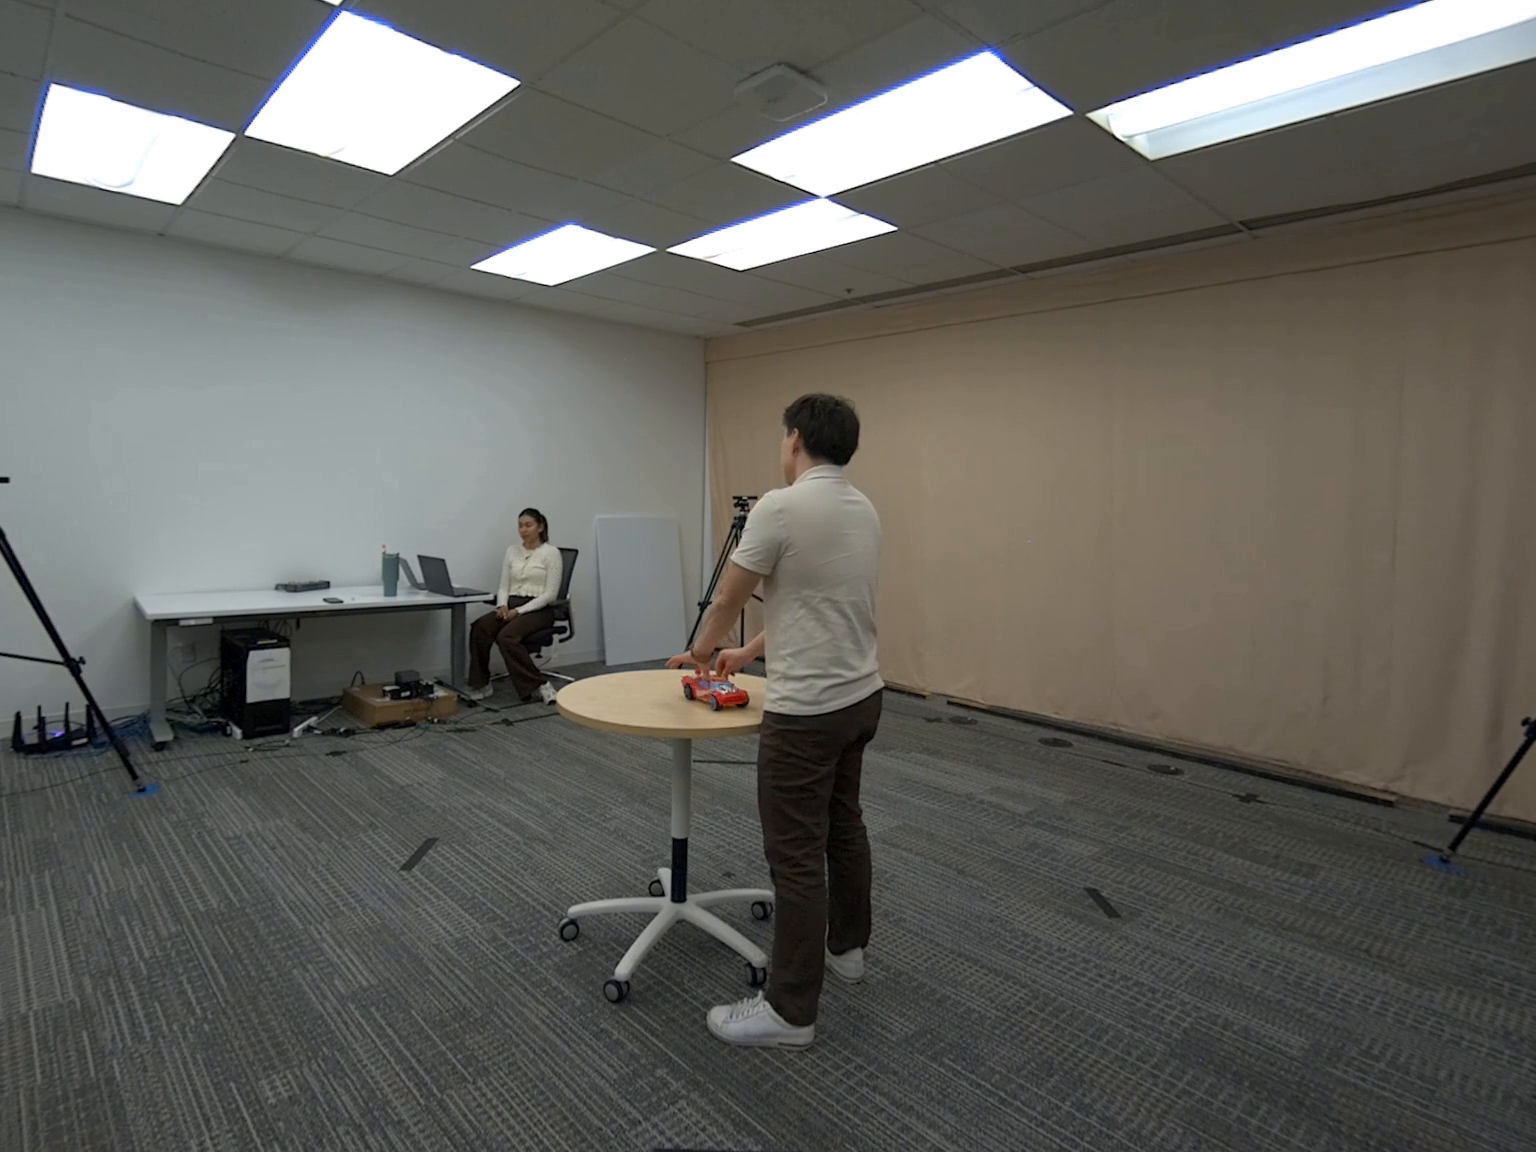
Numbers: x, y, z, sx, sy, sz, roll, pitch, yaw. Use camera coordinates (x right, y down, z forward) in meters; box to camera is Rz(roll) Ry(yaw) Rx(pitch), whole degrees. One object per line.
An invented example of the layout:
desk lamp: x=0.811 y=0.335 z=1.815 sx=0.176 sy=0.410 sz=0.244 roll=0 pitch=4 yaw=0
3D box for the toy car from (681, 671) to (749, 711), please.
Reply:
toy car: x=-0.171 y=0.346 z=2.499 sx=0.128 sy=0.082 sz=0.262 roll=-2 pitch=18 yaw=-30
